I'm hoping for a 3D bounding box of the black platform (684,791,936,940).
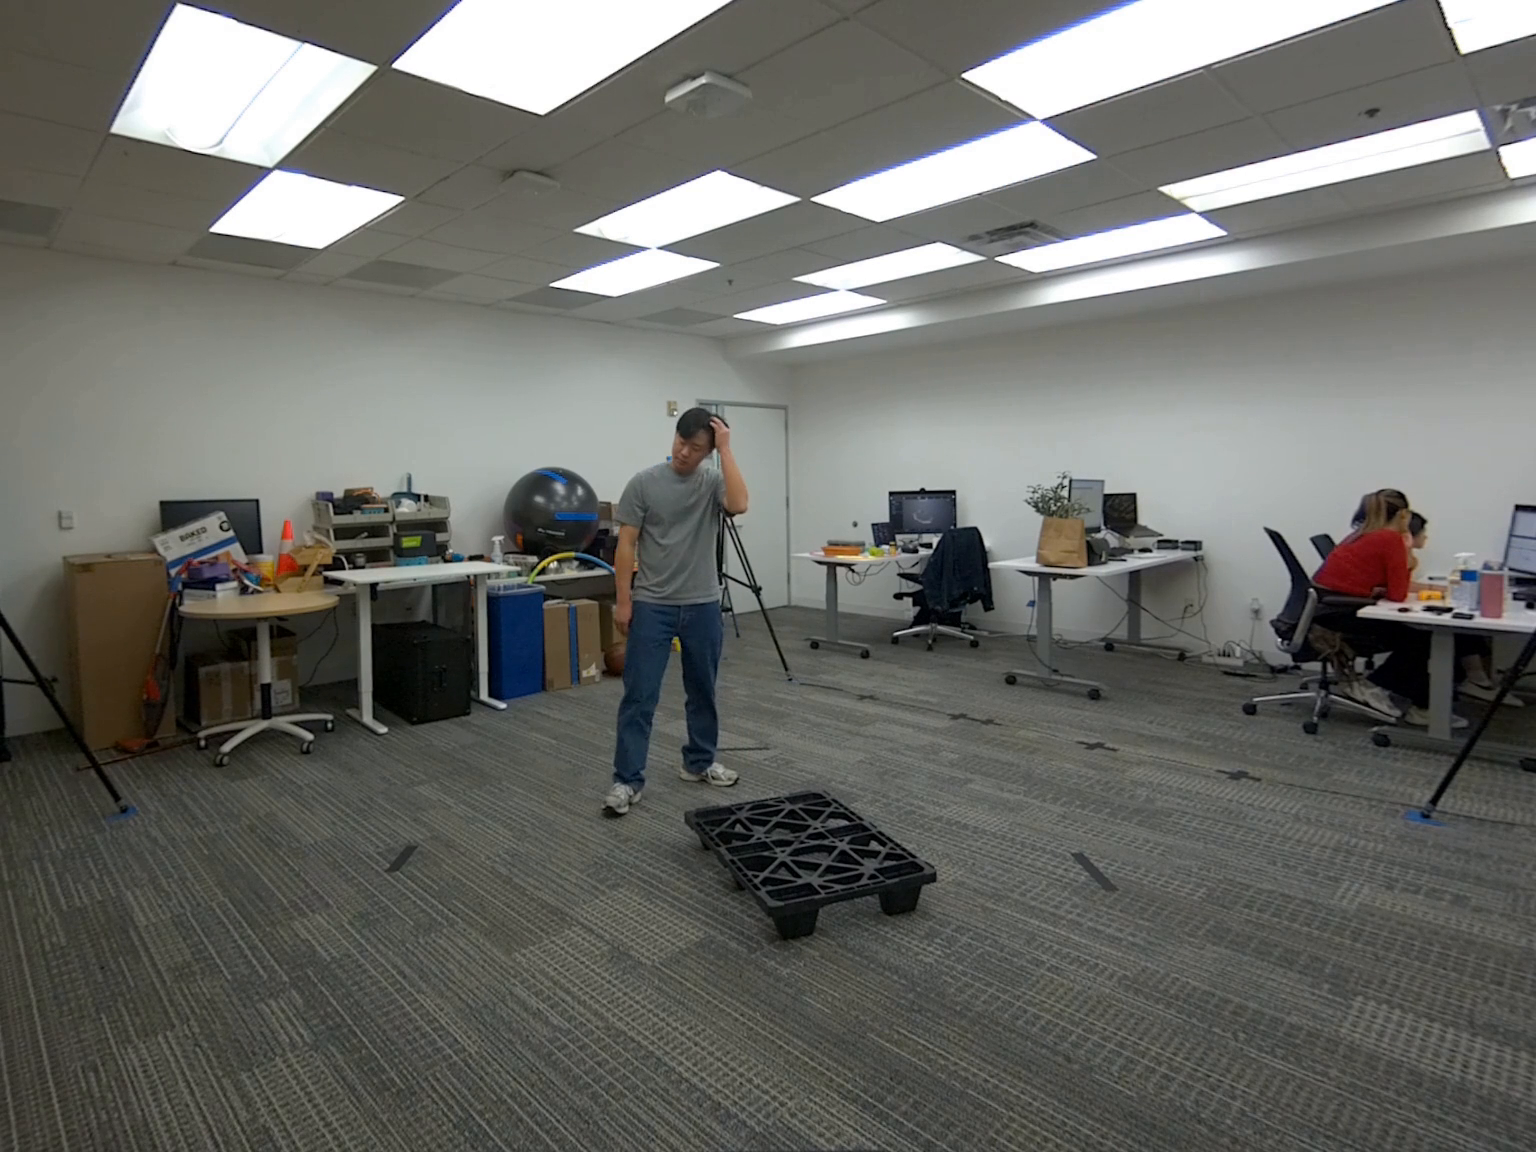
[{"bbox_3d":[0.115,0.987,2.995,0.594,0.142,0.825,-4,7,-23],"label":"black platform"}]
